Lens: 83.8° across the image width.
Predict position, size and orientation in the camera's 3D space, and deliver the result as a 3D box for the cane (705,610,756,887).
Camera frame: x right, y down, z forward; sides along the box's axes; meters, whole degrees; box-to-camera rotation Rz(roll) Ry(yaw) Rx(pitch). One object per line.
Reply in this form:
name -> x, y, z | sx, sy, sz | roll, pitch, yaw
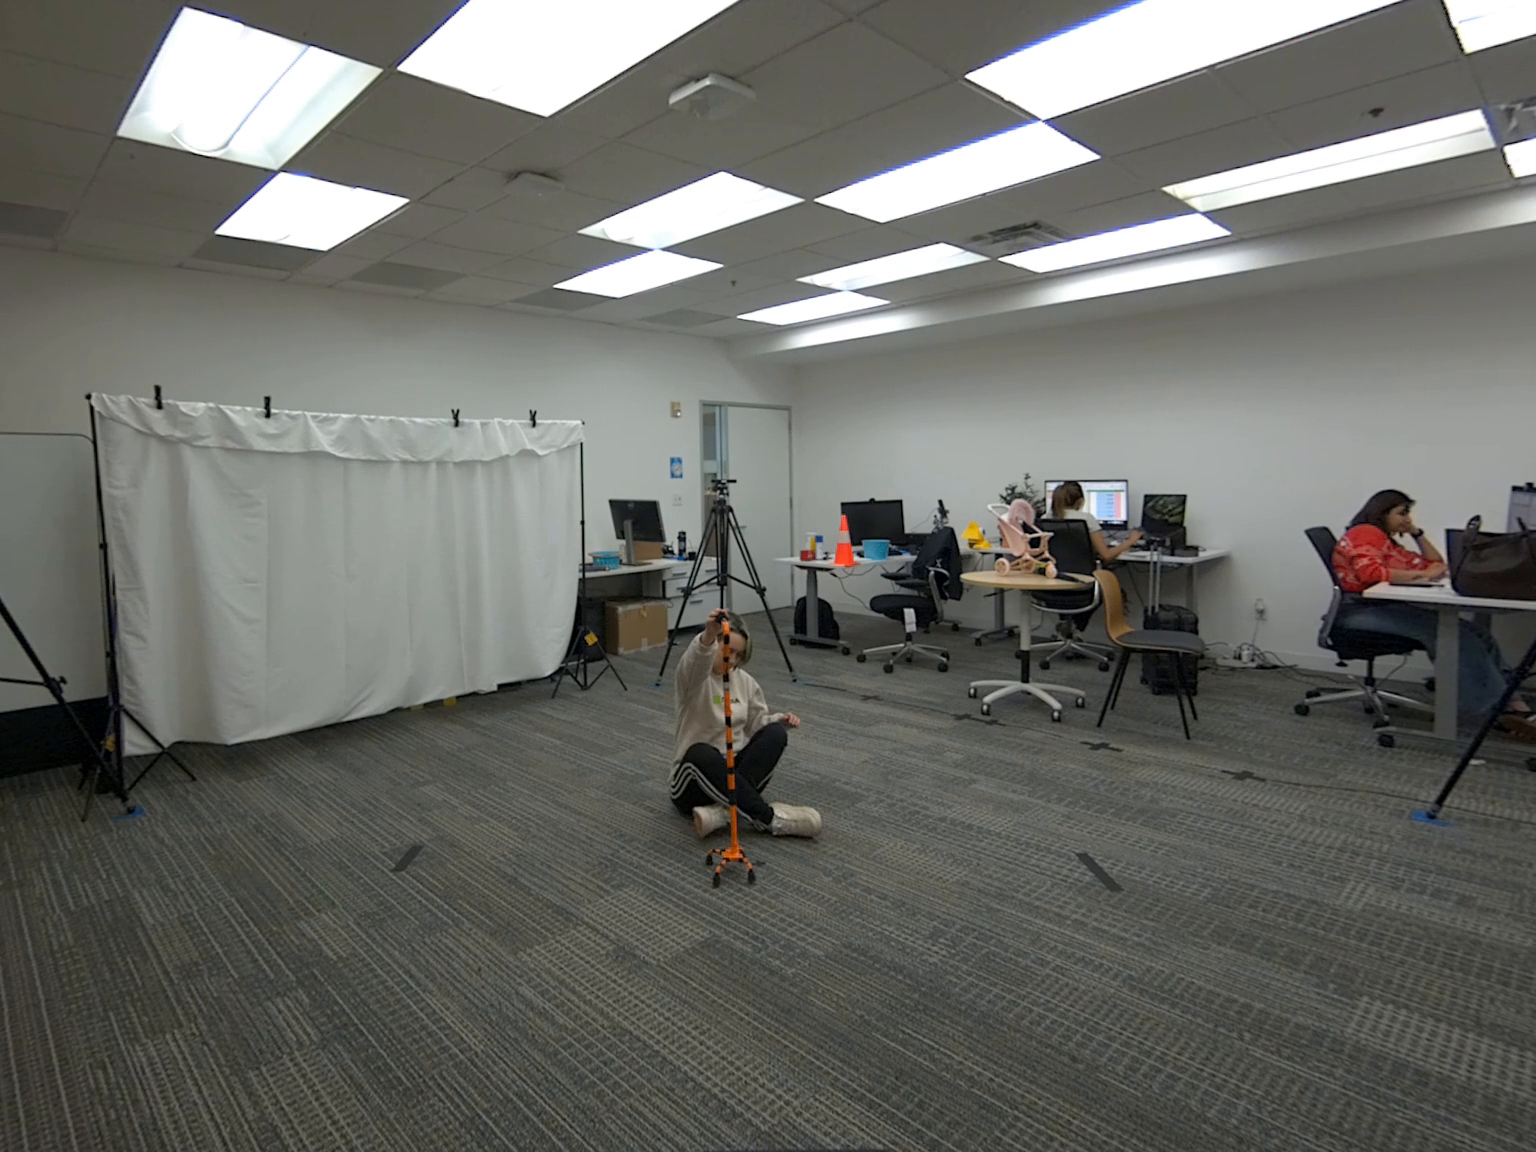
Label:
cane -> -0.151, 0.606, 3.032 | 0.150, 0.907, 0.209 | -3, 1, -12
